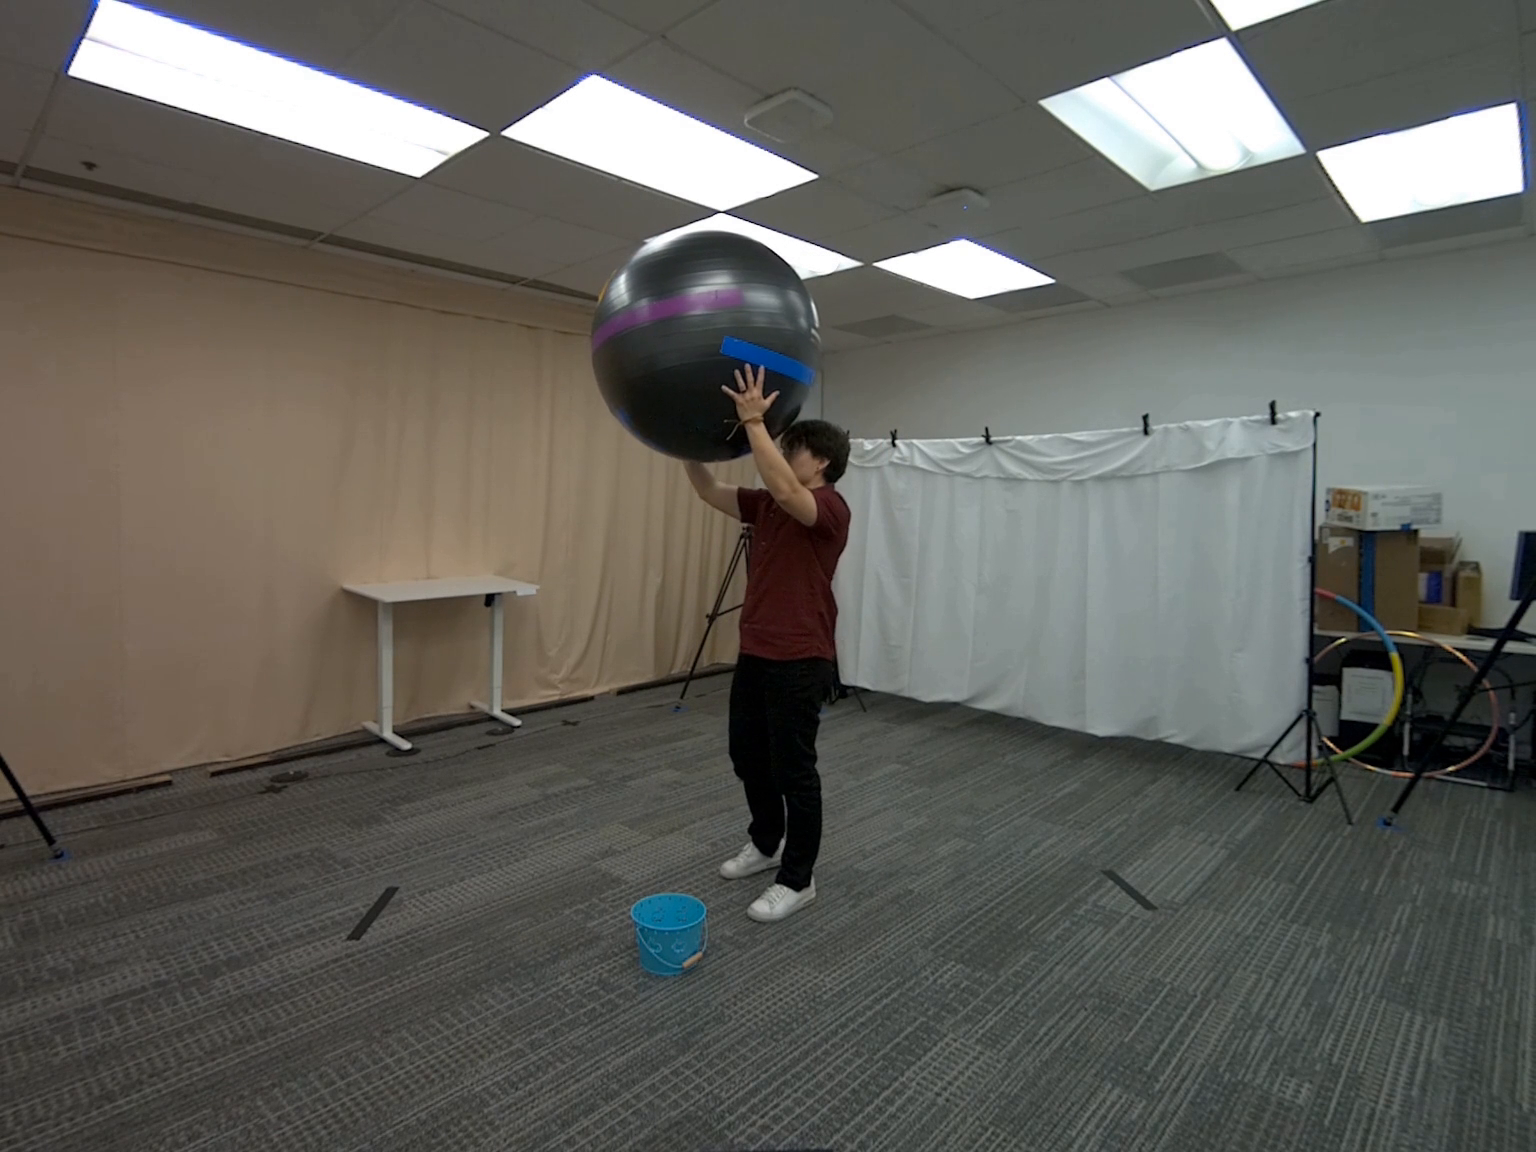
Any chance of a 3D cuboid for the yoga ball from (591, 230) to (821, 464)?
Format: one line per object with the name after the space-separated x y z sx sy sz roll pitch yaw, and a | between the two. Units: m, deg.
-0.205 -0.759 2.798 0.757 0.756 0.760 0 4 -2 | yoga ball
